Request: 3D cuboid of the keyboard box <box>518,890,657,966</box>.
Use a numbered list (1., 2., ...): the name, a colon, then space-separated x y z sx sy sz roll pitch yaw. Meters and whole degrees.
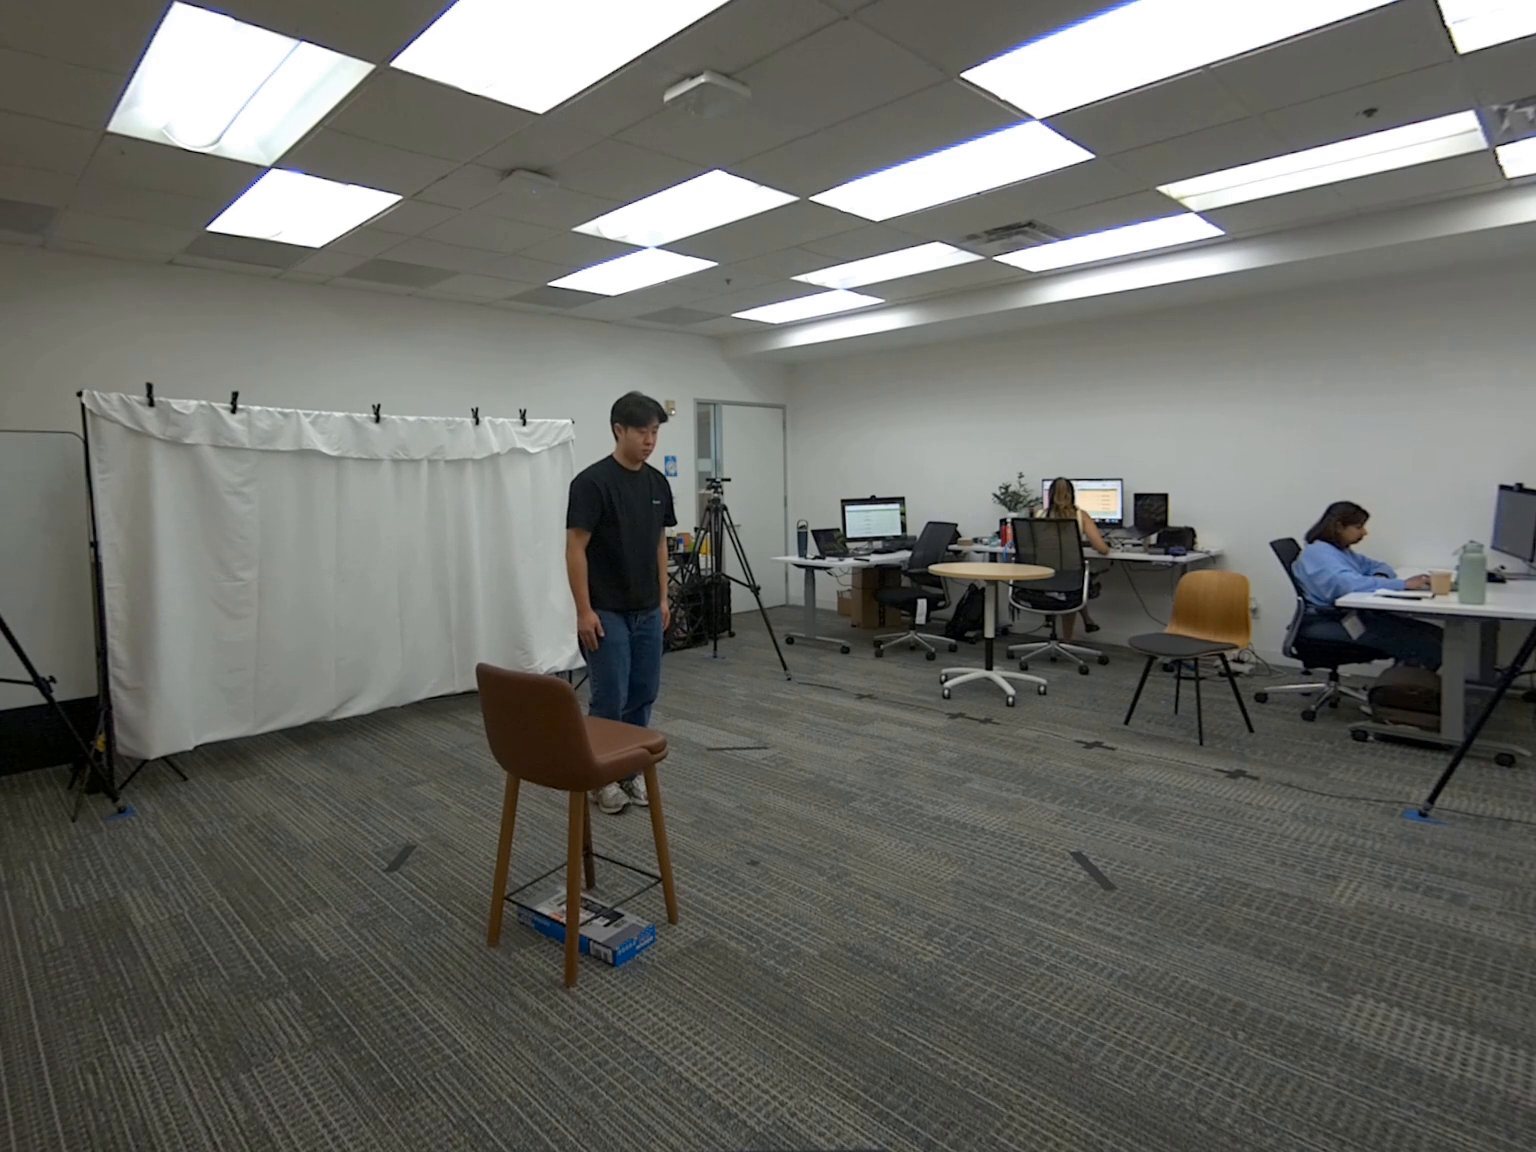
1. keyboard box: -0.571 1.082 2.651 0.450 0.059 0.172 4 8 37
